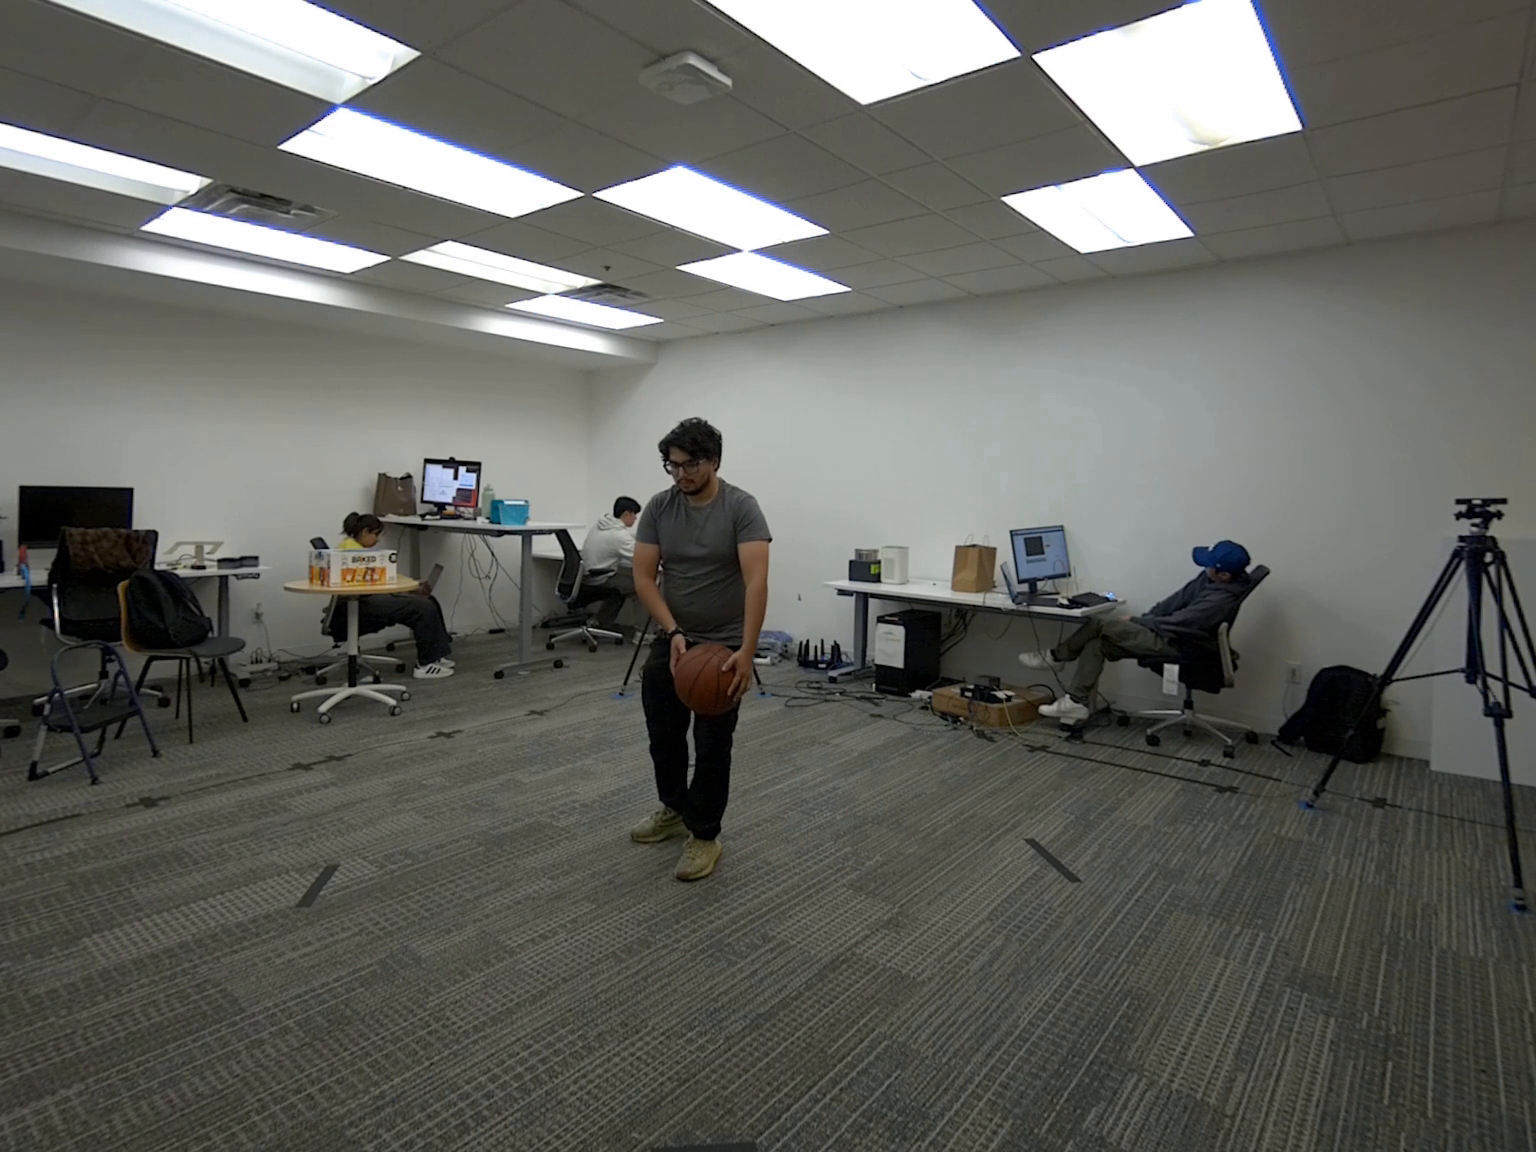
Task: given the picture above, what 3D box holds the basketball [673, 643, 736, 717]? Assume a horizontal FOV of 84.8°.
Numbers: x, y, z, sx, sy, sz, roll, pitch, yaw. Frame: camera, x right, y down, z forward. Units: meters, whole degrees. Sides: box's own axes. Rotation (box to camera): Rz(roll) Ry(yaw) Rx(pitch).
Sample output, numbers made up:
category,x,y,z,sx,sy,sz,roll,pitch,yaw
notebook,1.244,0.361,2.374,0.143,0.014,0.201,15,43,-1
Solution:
category,x,y,z,sx,sy,sz,roll,pitch,yaw
basketball,-0.203,0.333,2.834,0.235,0.235,0.237,1,4,-2
